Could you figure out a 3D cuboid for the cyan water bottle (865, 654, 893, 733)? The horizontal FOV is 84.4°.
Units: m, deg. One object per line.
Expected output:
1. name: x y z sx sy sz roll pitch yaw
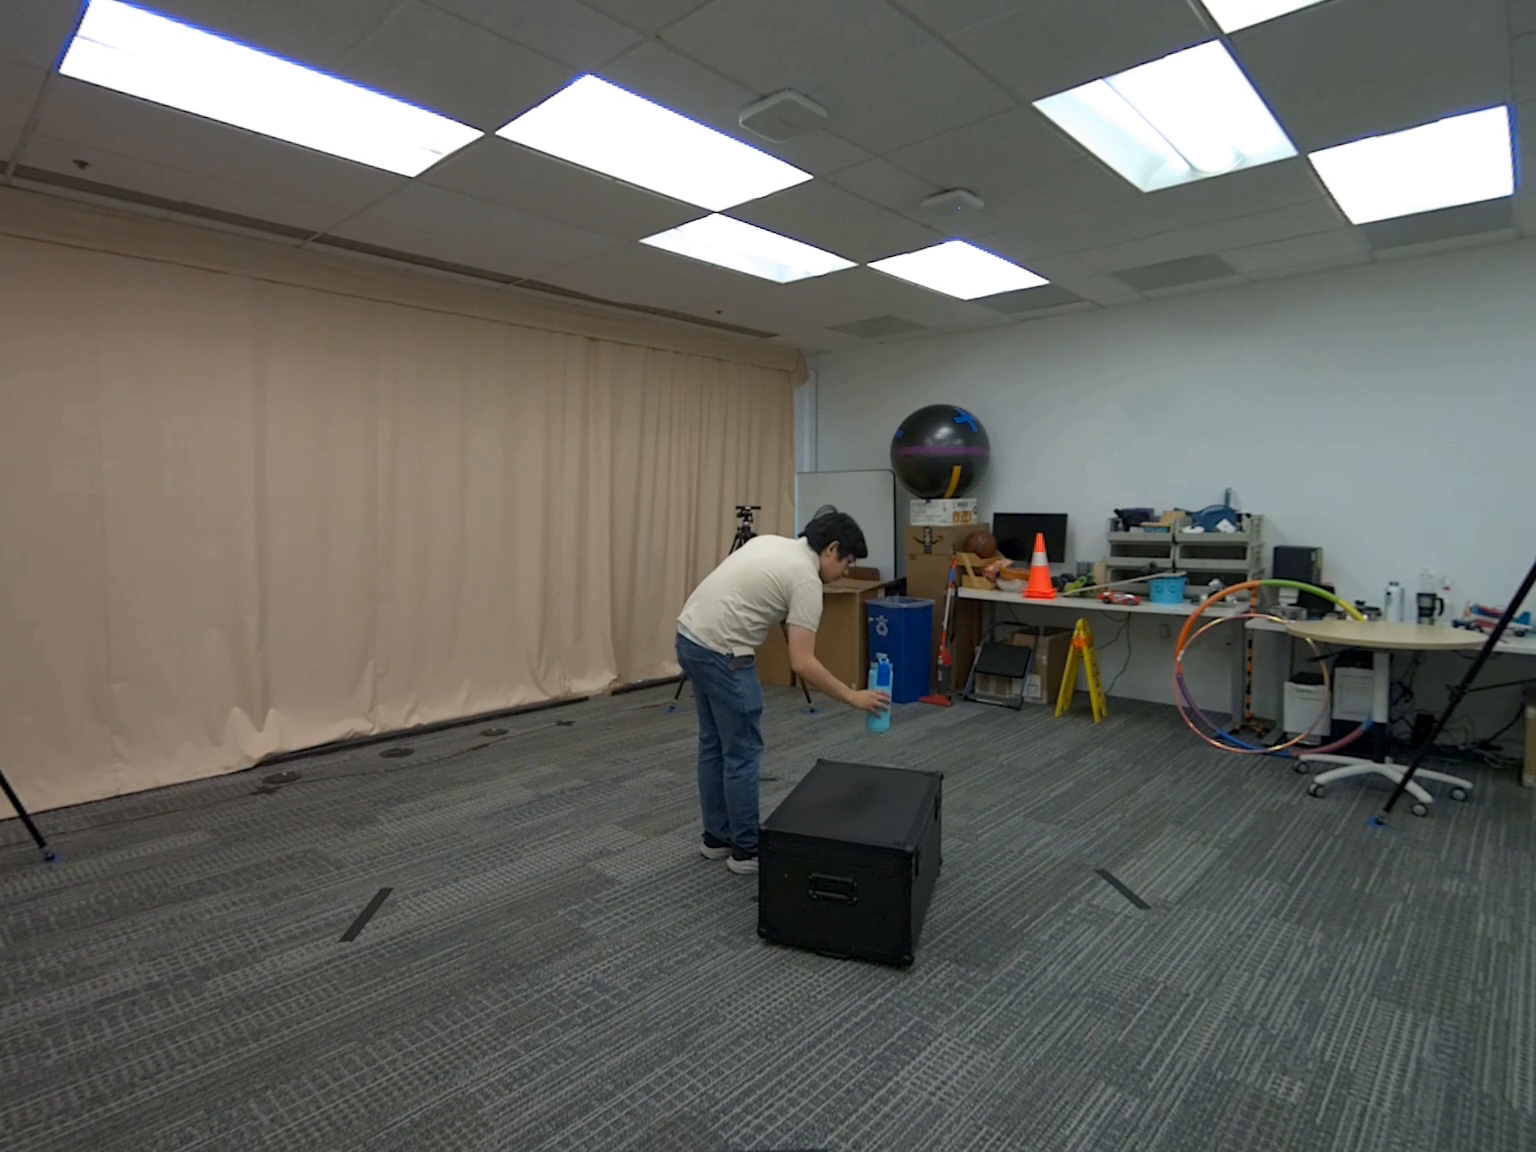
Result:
1. cyan water bottle: 0.431 0.439 3.181 0.092 0.282 0.093 3 8 -2
